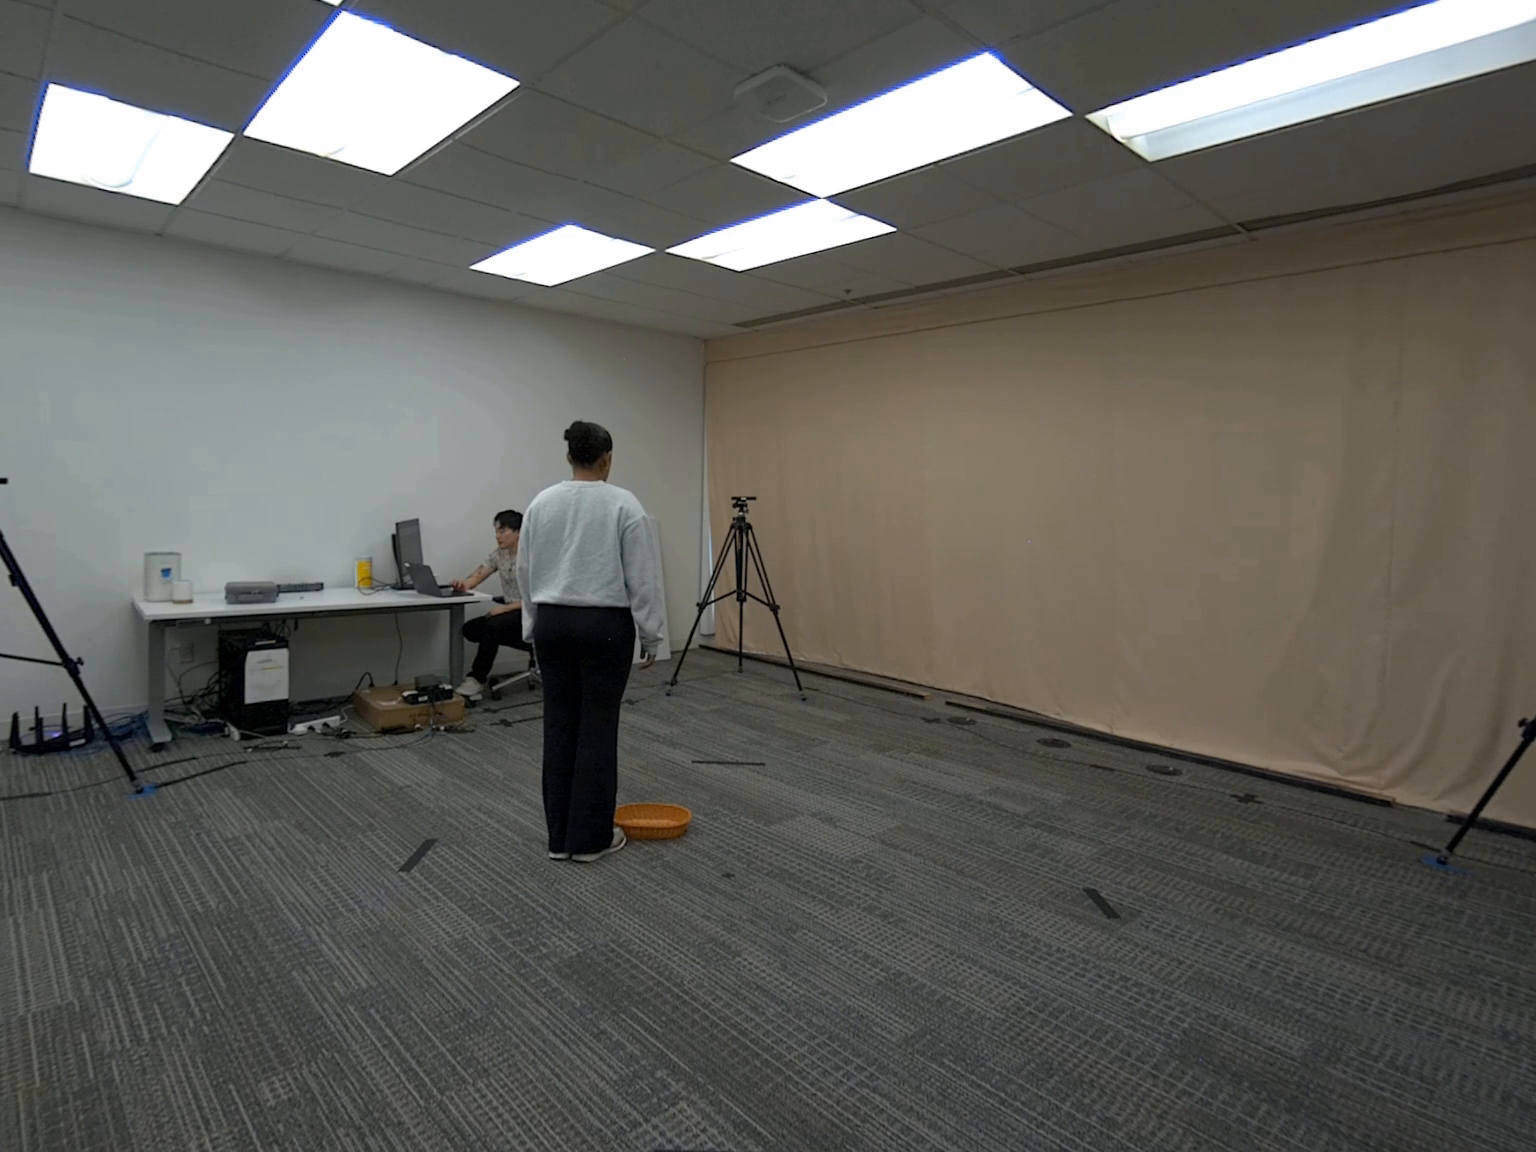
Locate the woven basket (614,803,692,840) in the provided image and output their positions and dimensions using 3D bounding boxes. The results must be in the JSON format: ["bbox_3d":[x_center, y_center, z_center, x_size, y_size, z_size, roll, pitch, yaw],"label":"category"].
[{"bbox_3d":[-0.495,1.022,3.510,0.351,0.073,0.253,2,6,2],"label":"woven basket"}]
